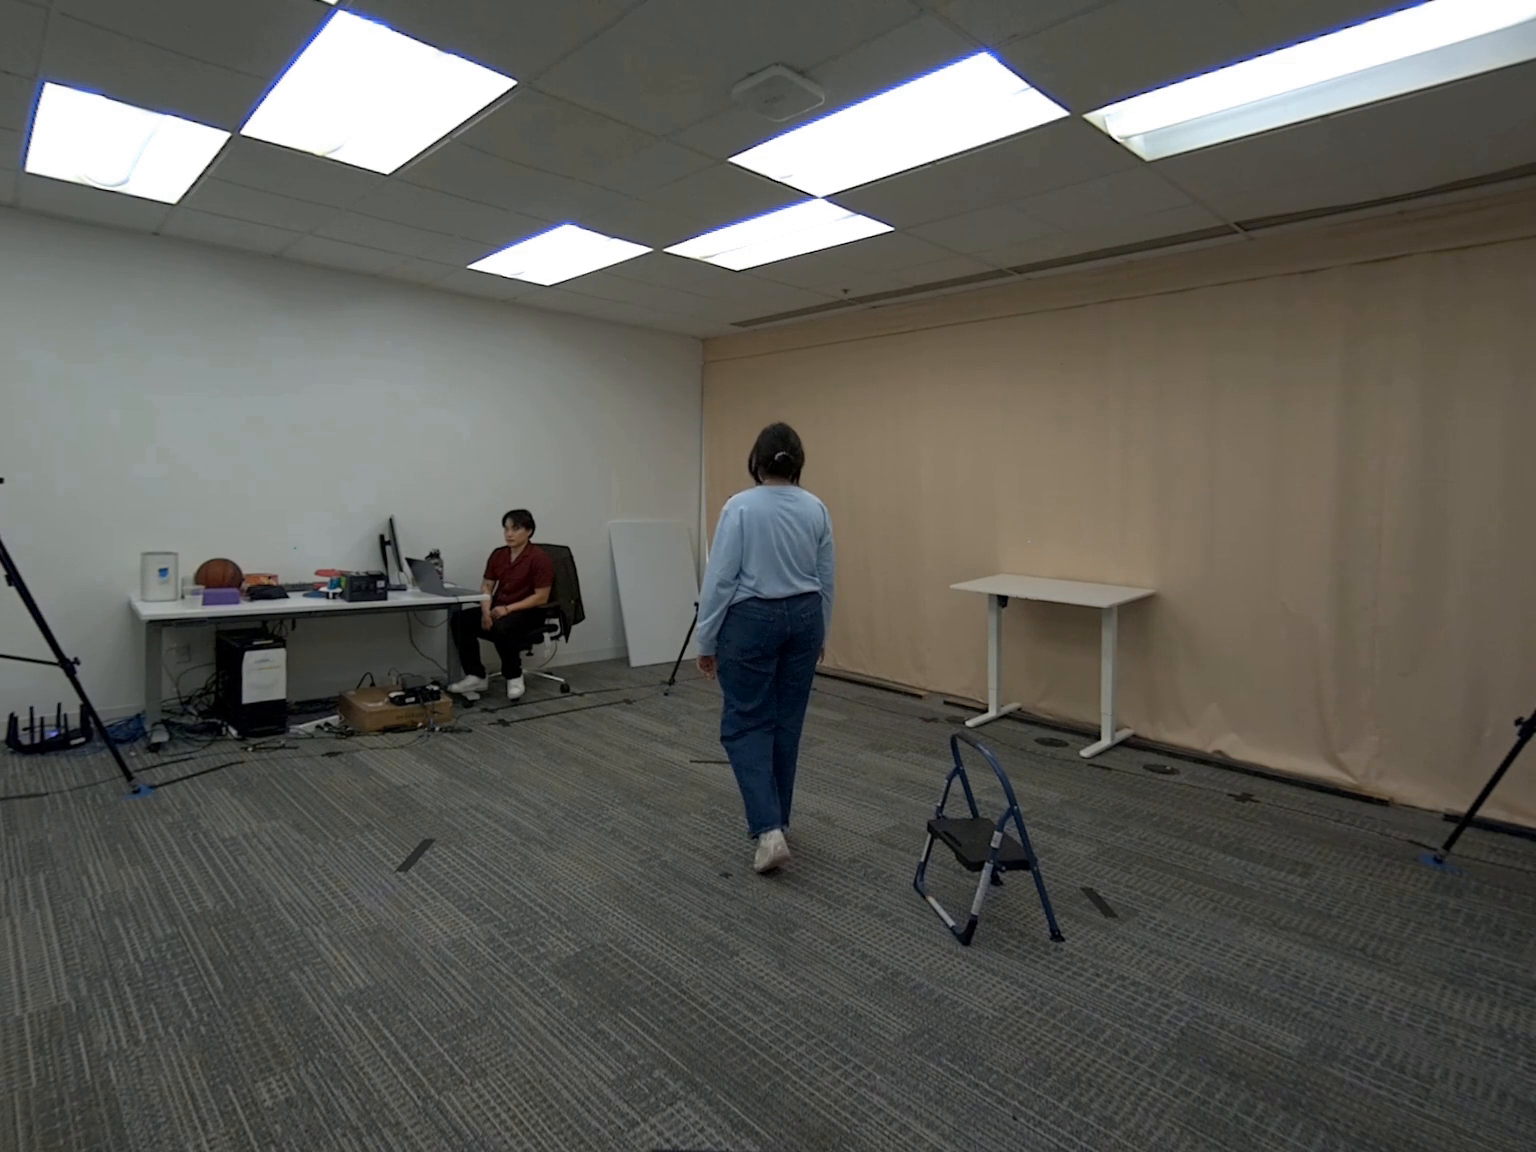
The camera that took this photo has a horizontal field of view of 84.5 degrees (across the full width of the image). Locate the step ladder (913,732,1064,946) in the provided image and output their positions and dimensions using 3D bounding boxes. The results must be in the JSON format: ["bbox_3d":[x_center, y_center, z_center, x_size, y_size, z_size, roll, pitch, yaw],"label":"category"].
[{"bbox_3d":[0.739,0.849,2.855,0.346,0.604,0.436,1,4,-12],"label":"step ladder"}]
